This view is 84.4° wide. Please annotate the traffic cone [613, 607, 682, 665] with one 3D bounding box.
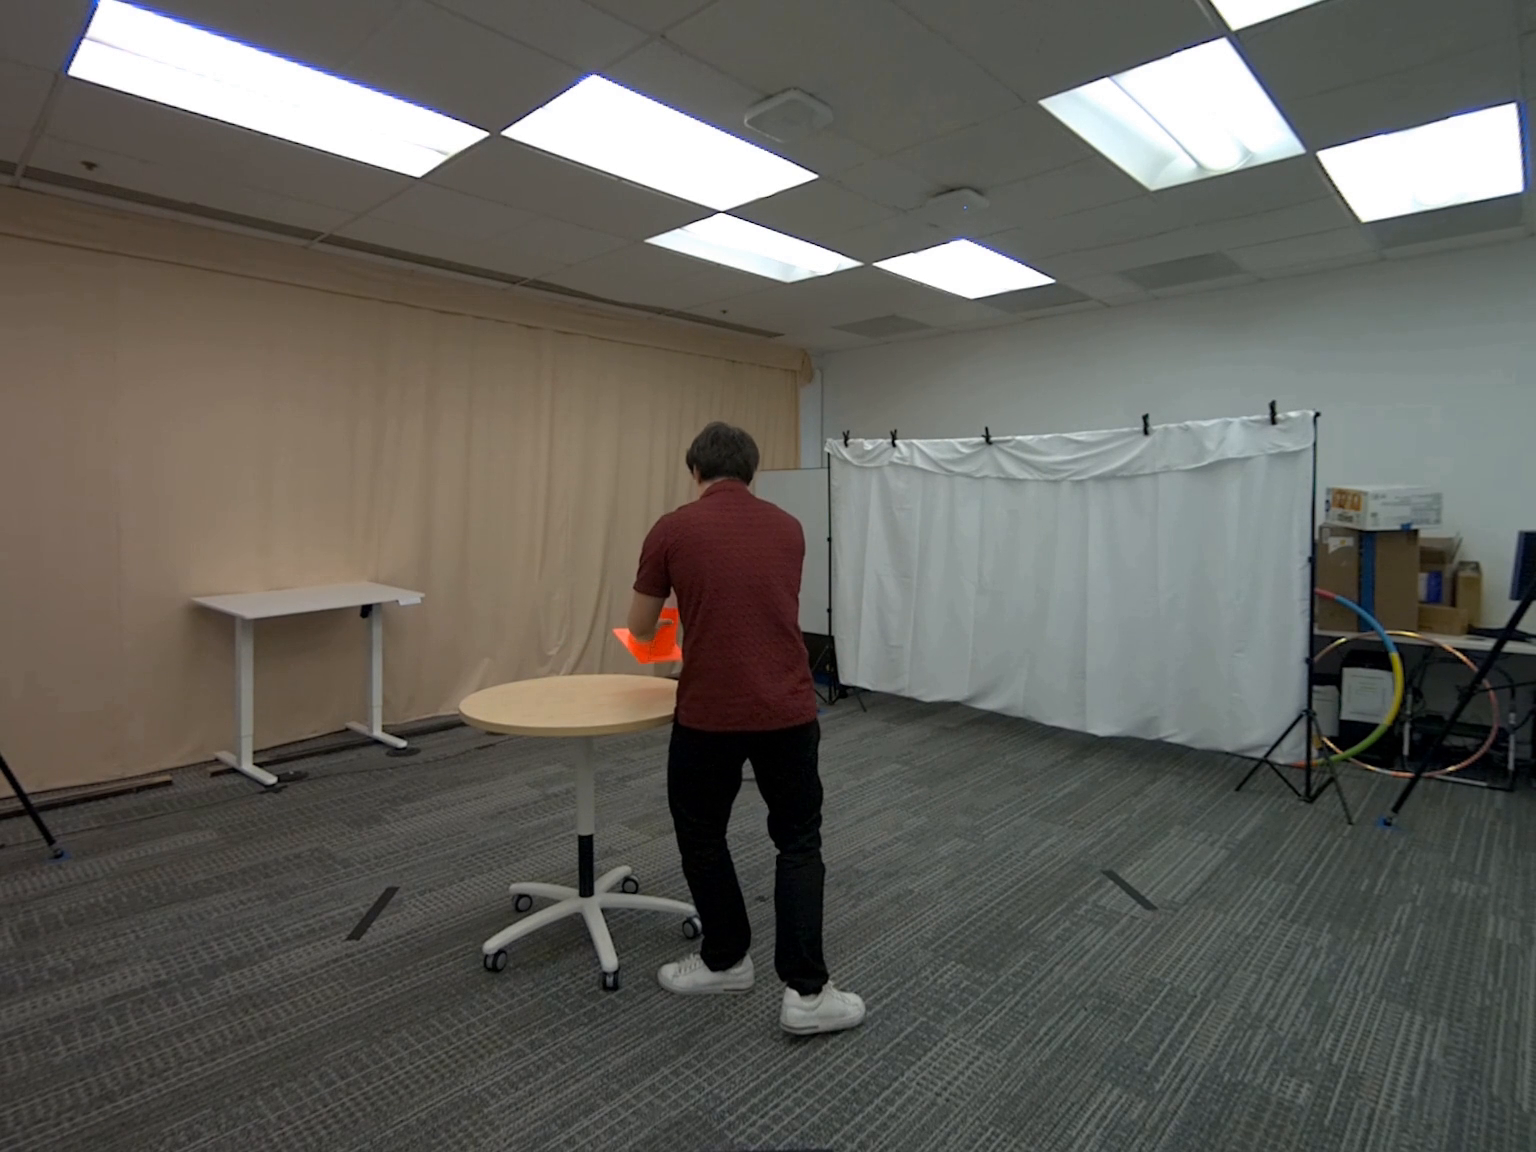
[{"bbox_3d":[-0.346,0.065,2.705,0.201,0.380,0.208,4,21,-16],"label":"traffic cone"}]
